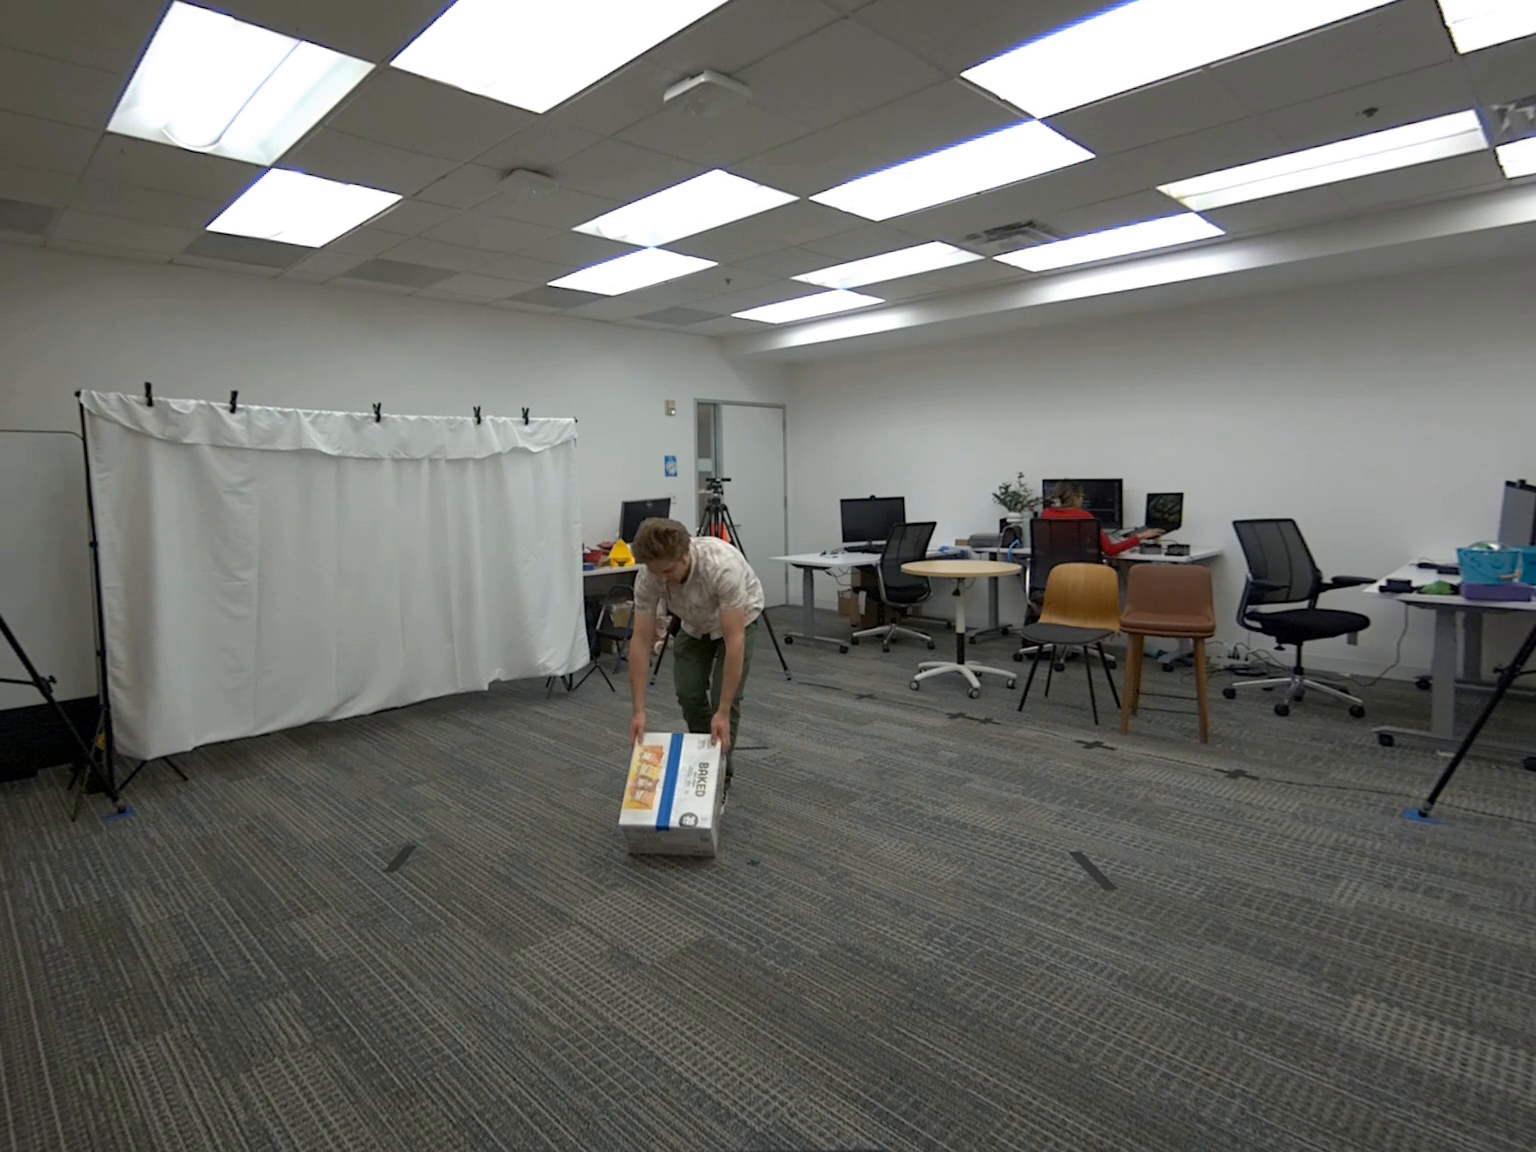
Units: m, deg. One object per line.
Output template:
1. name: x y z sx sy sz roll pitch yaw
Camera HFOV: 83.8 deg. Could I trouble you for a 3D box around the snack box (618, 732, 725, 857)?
1. snack box: -0.353 0.830 3.265 0.343 0.199 0.415 -1 43 7
